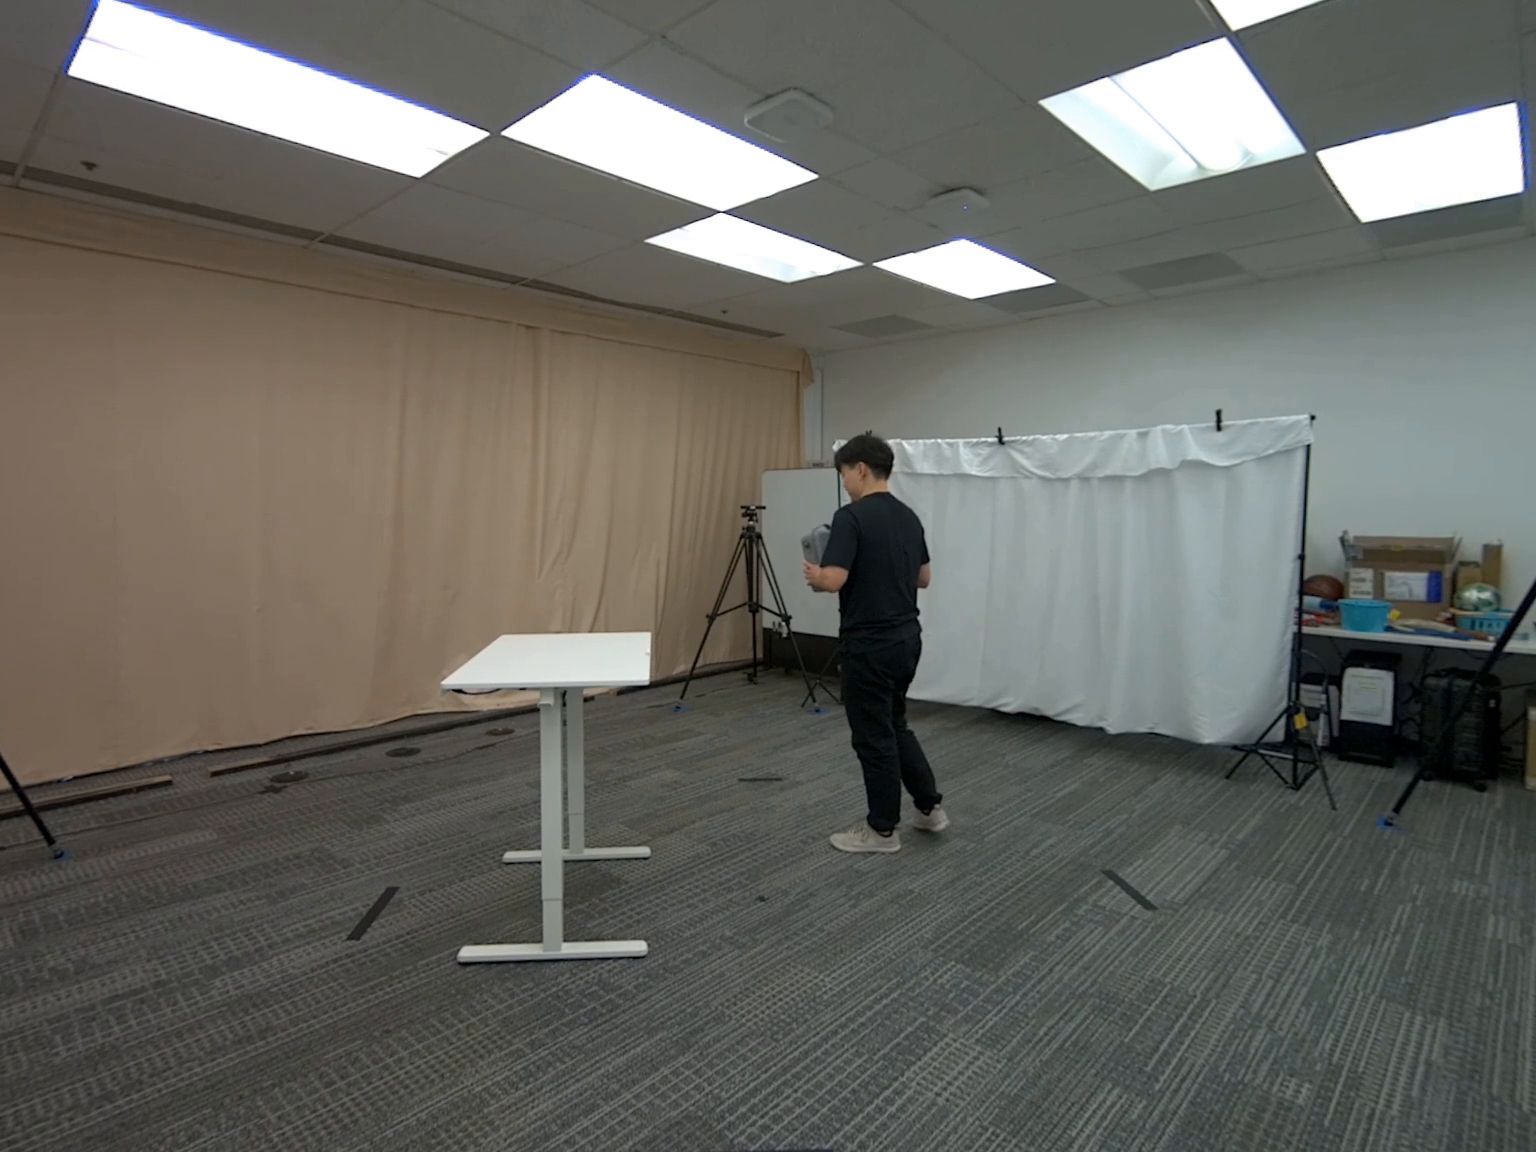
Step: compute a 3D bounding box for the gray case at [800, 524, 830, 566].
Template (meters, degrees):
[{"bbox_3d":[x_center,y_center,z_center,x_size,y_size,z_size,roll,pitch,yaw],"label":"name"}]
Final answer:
[{"bbox_3d":[0.280,-0.066,3.571,0.107,0.263,0.249,-21,-14,40],"label":"gray case"}]
